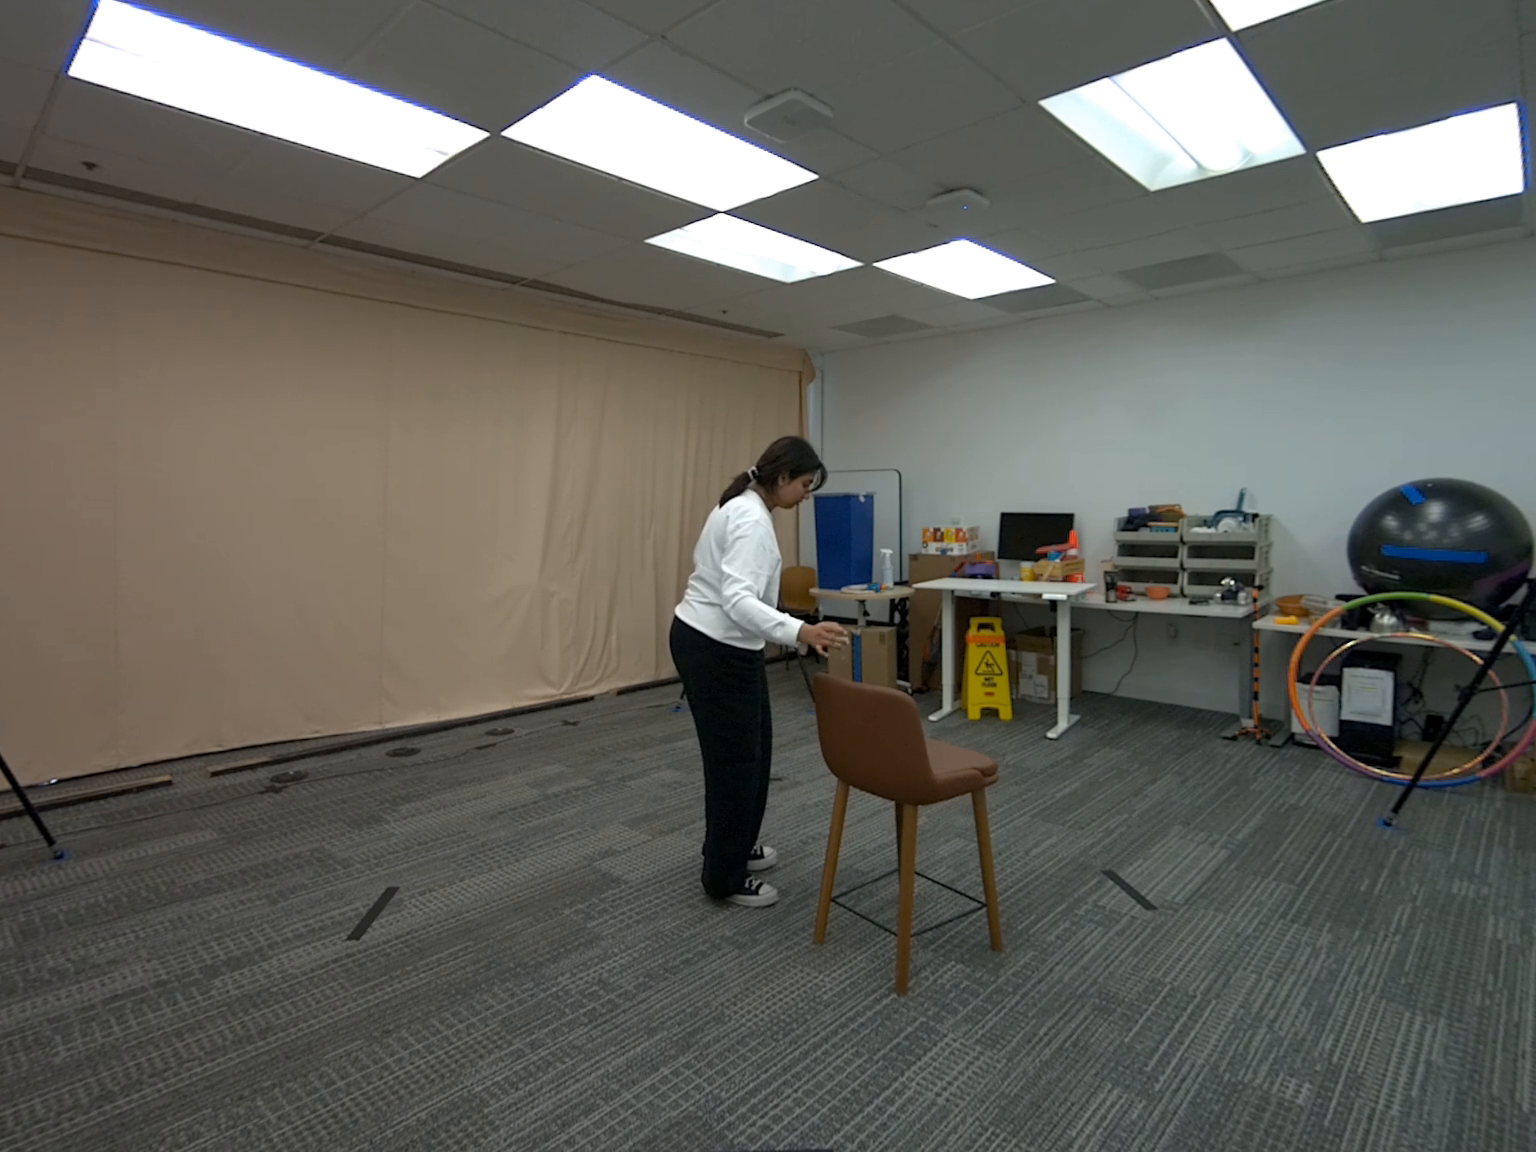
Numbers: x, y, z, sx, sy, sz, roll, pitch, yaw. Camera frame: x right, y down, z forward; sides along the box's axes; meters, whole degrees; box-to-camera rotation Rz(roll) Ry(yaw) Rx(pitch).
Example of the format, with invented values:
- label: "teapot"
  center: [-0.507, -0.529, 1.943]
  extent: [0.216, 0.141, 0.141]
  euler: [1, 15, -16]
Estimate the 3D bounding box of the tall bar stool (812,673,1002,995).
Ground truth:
- label: "tall bar stool"
  center: [0.437, 0.733, 2.640]
  extent: [0.454, 0.887, 0.471]
  euler: [-5, 5, -37]
